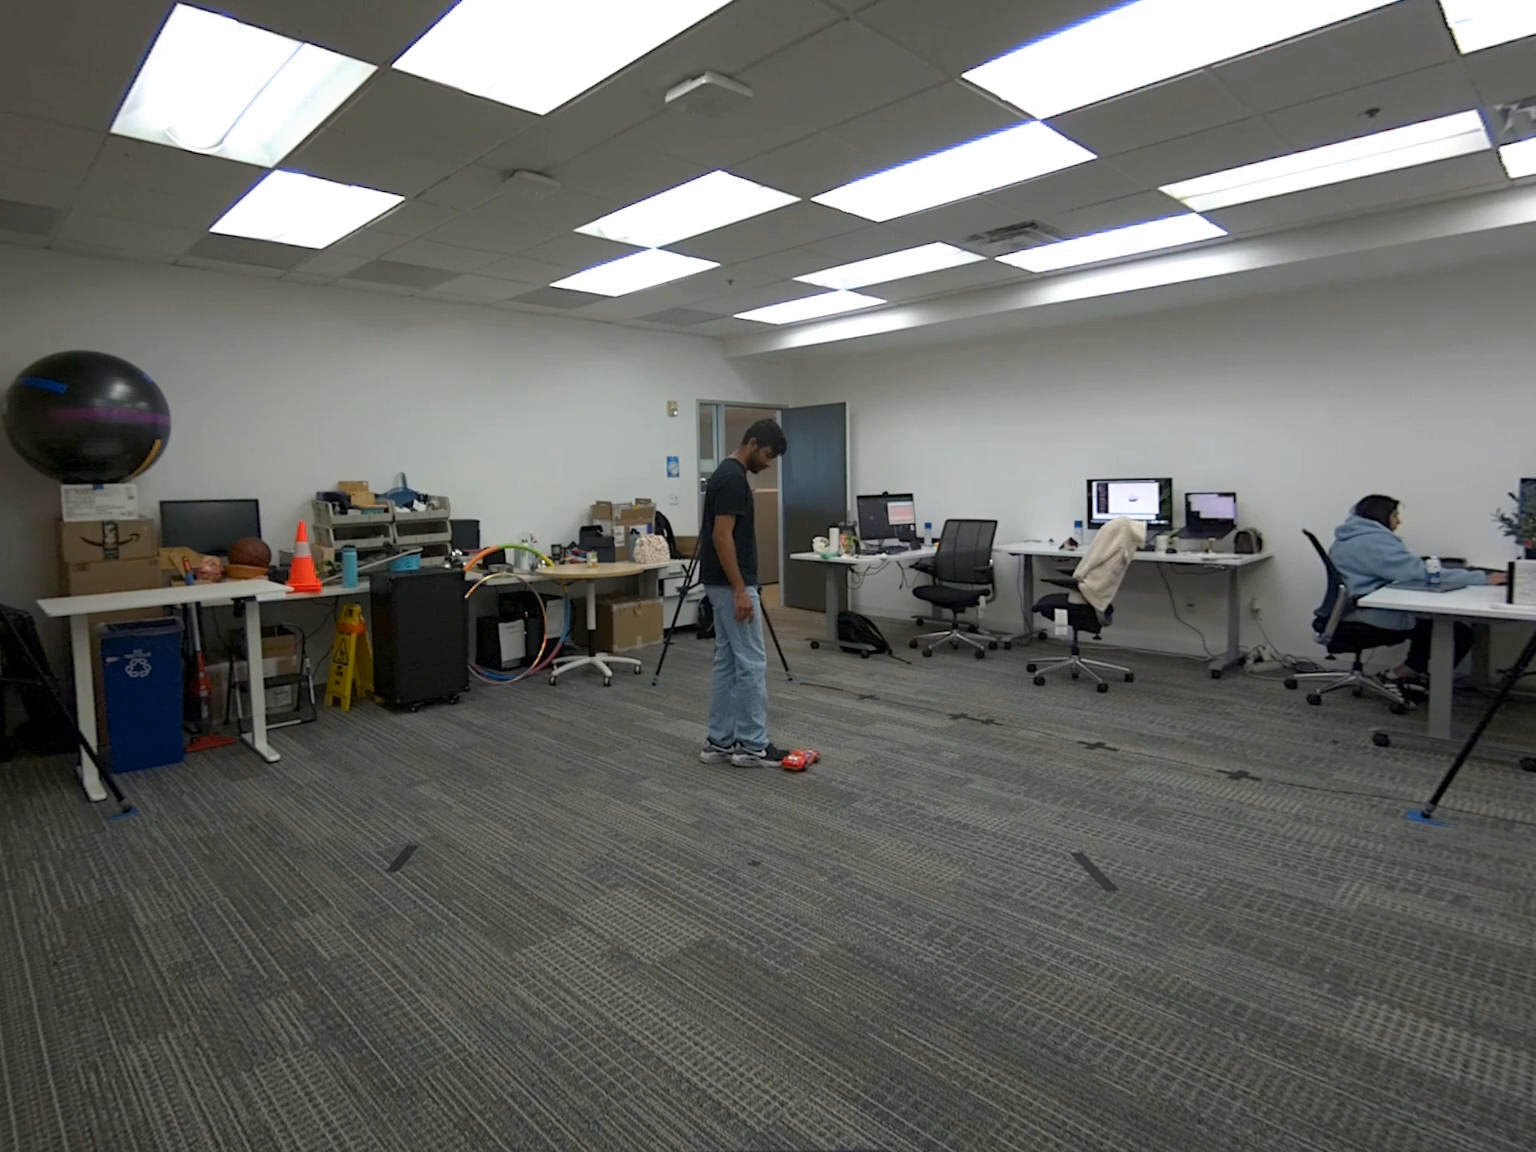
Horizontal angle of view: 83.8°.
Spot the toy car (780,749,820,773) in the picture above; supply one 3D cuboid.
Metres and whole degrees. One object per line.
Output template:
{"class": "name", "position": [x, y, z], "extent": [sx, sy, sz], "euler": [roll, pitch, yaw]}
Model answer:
{"class": "toy car", "position": [0.159, 0.895, 4.145], "extent": [0.134, 0.083, 0.247], "euler": [4, -4, 31]}
